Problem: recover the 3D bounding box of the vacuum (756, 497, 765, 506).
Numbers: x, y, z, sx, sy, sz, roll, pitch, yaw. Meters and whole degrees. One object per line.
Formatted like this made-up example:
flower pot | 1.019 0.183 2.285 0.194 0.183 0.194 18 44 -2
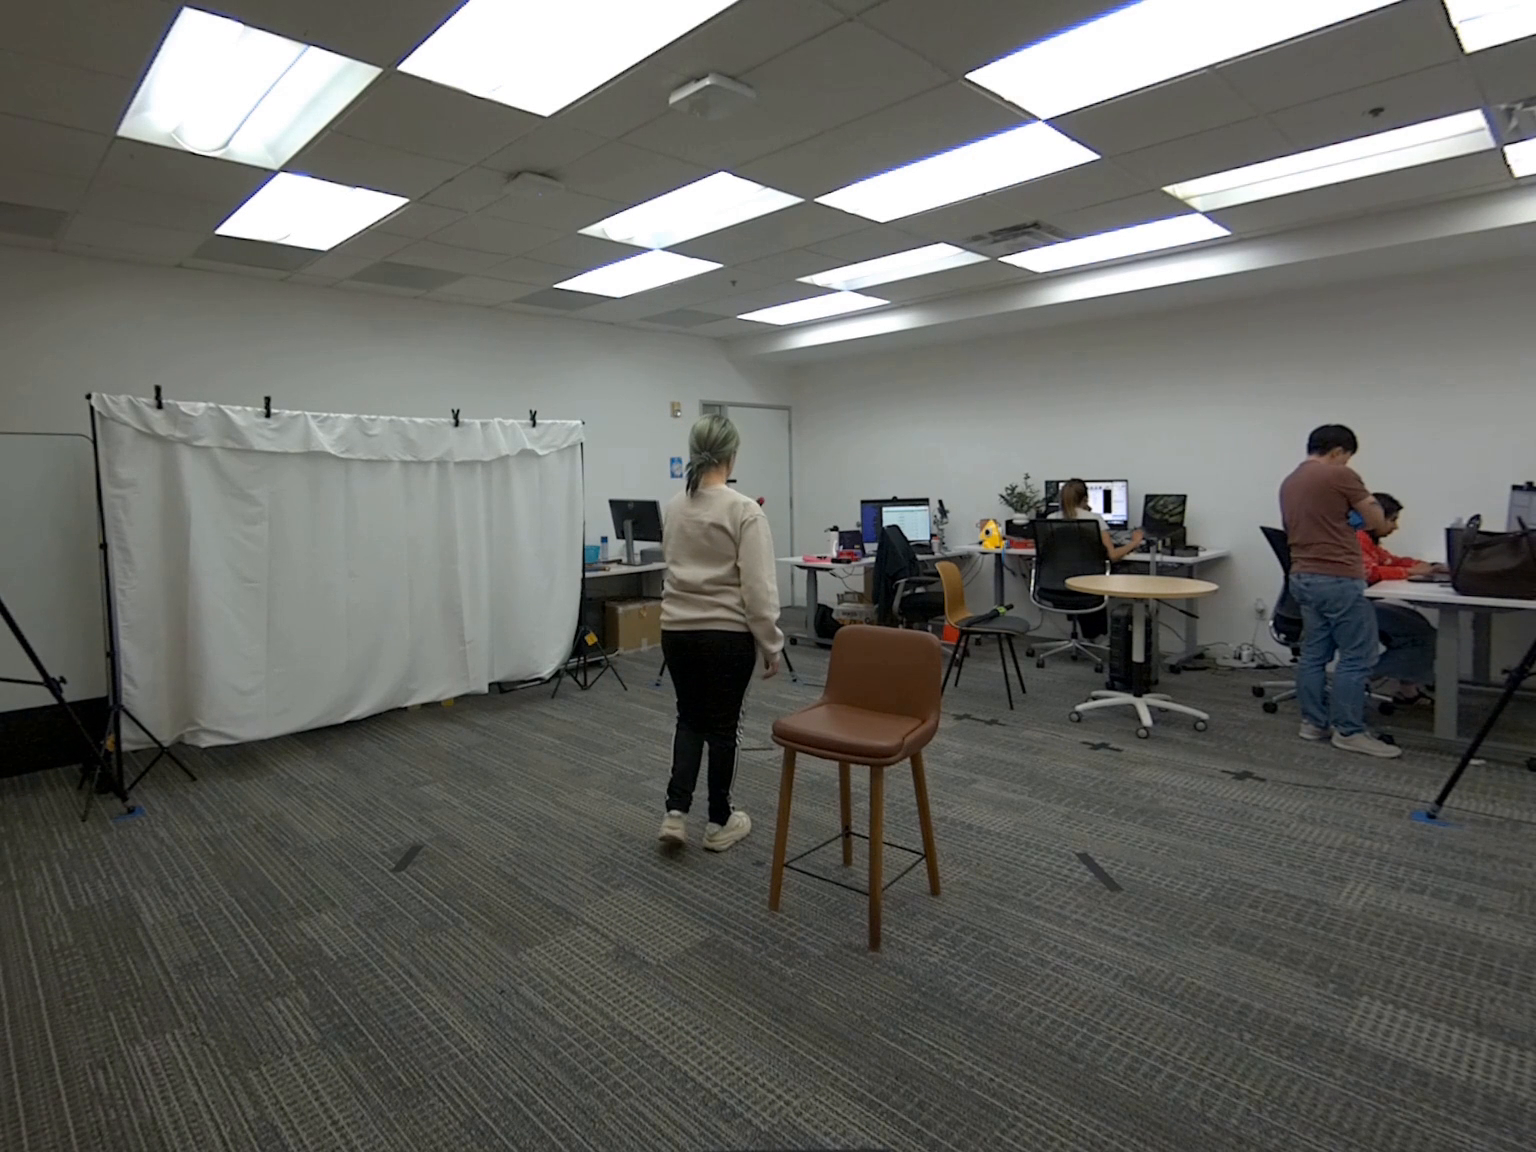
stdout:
vacuum | -0.145 0.195 3.607 0.148 1.045 0.246 16 6 28
